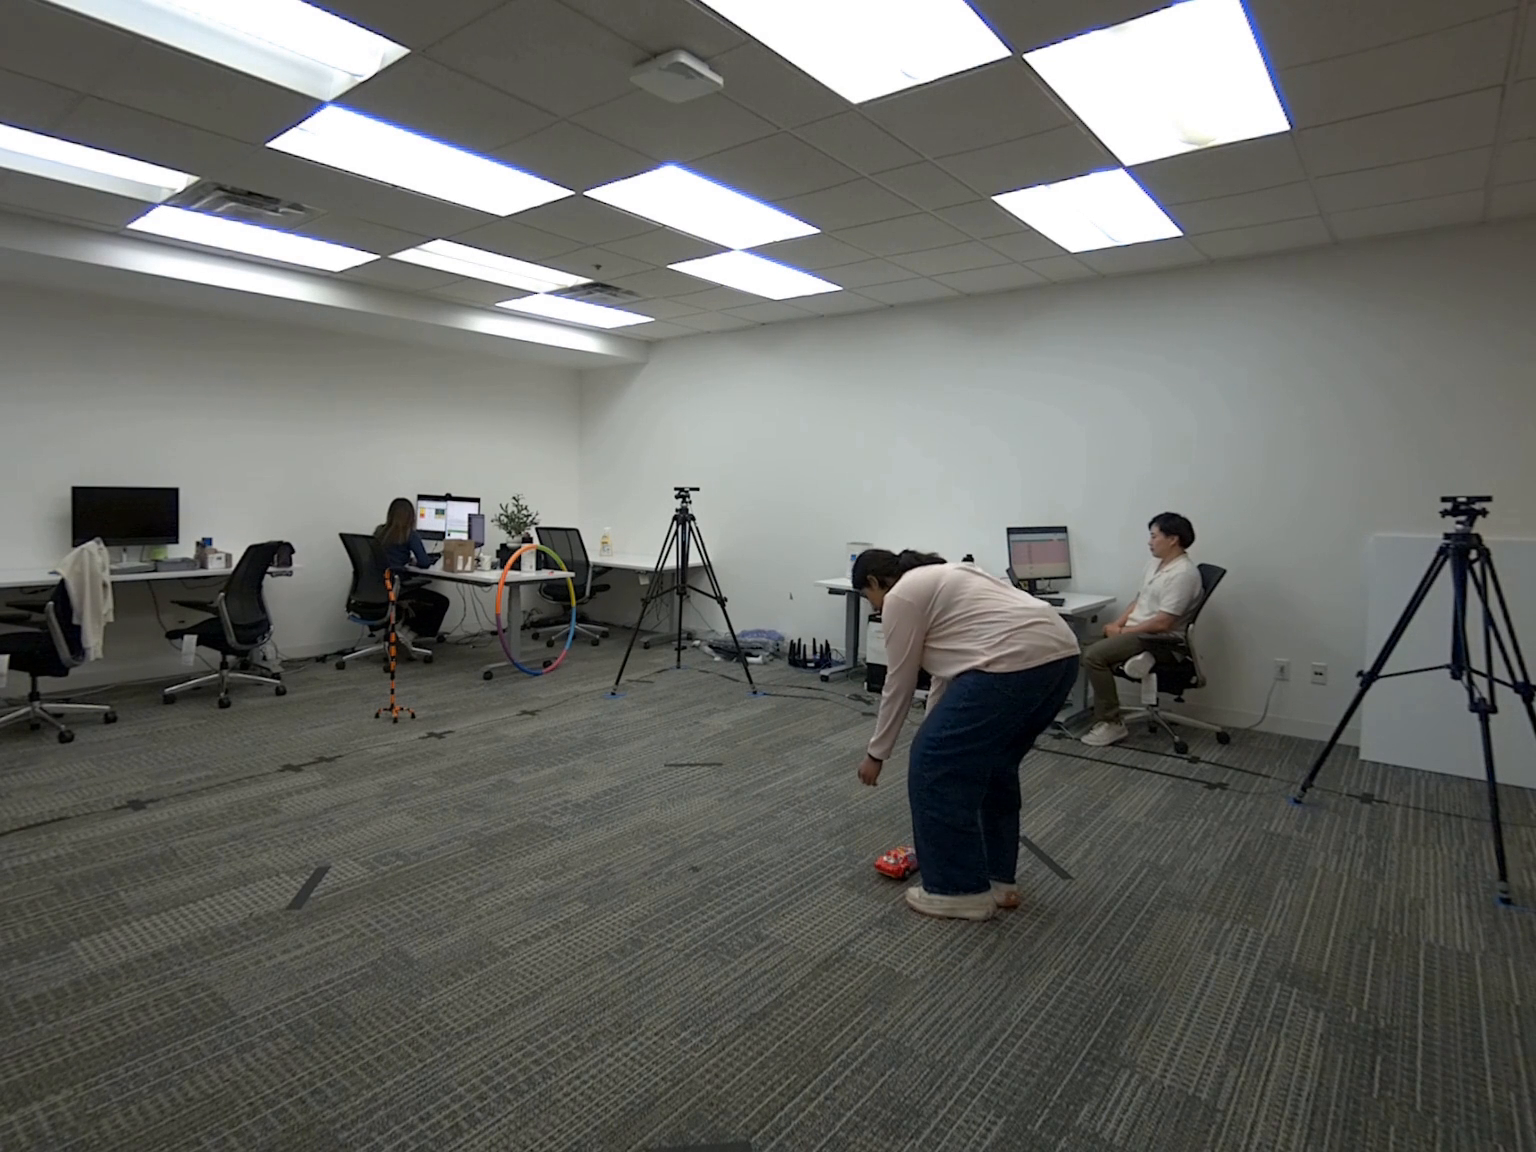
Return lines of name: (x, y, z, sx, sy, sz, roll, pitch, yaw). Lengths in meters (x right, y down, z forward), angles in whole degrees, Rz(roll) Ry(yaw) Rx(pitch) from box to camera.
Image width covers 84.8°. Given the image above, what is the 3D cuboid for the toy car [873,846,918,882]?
toy car: (0.475, 1.046, 3.122, 0.135, 0.083, 0.245, 7, -3, 42)
